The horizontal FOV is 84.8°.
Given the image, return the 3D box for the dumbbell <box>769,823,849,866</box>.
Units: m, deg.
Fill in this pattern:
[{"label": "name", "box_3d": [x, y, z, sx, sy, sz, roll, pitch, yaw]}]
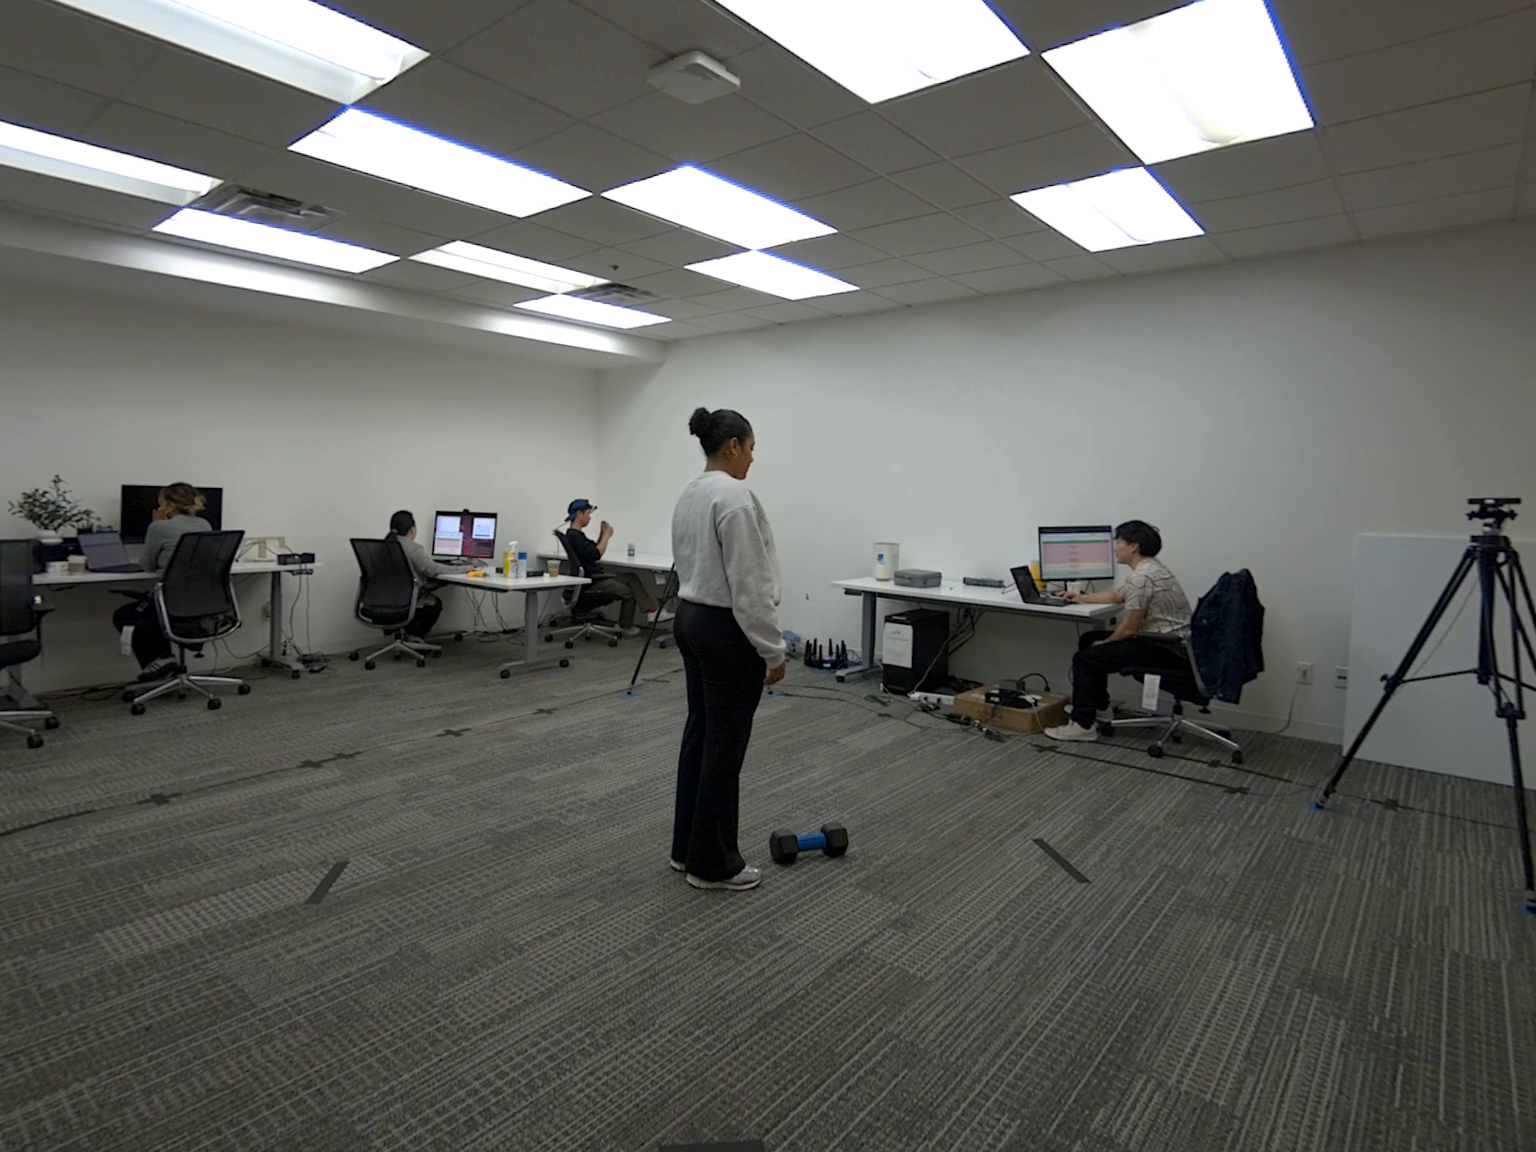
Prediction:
[{"label": "dumbbell", "box_3d": [0.149, 1.016, 3.225, 0.288, 0.120, 0.113, -1, 32, -19]}]
